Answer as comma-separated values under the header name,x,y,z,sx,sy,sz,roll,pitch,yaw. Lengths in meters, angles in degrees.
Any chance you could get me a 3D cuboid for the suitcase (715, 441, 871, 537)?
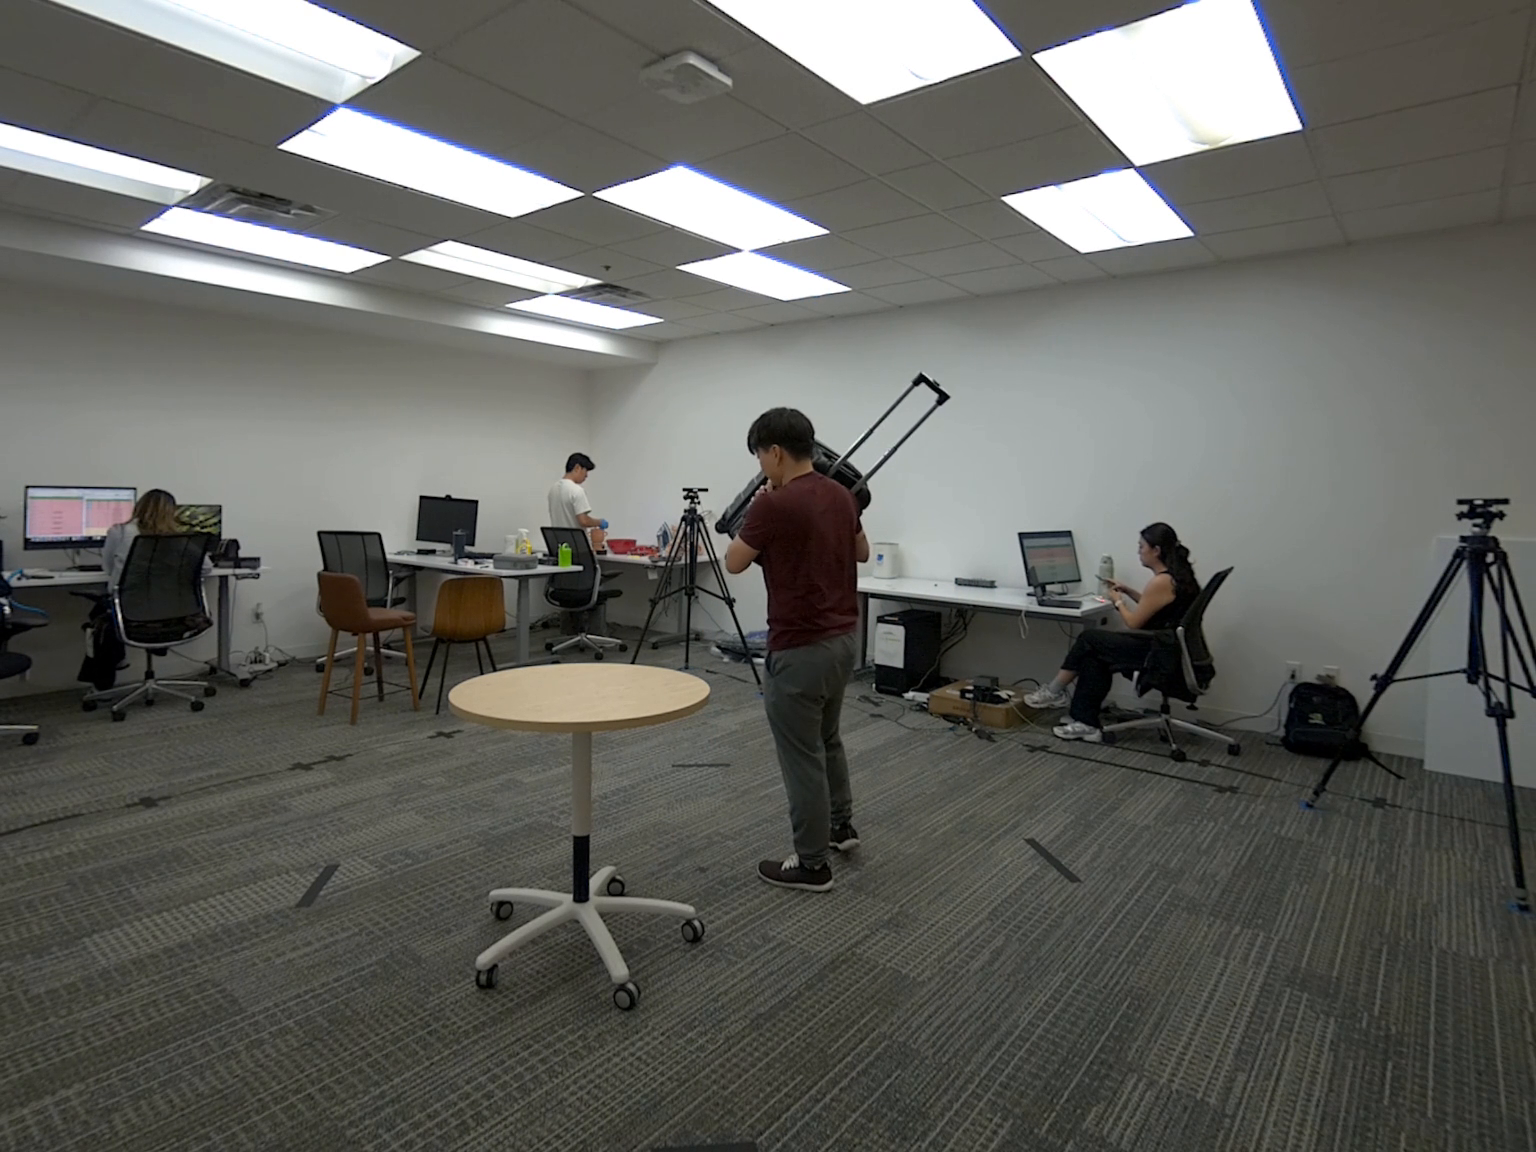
name,x,y,z,sx,sy,sz,roll,pitch,yaw
suitcase,0.223,-0.399,3.207,0.370,0.978,0.266,31,22,-30
